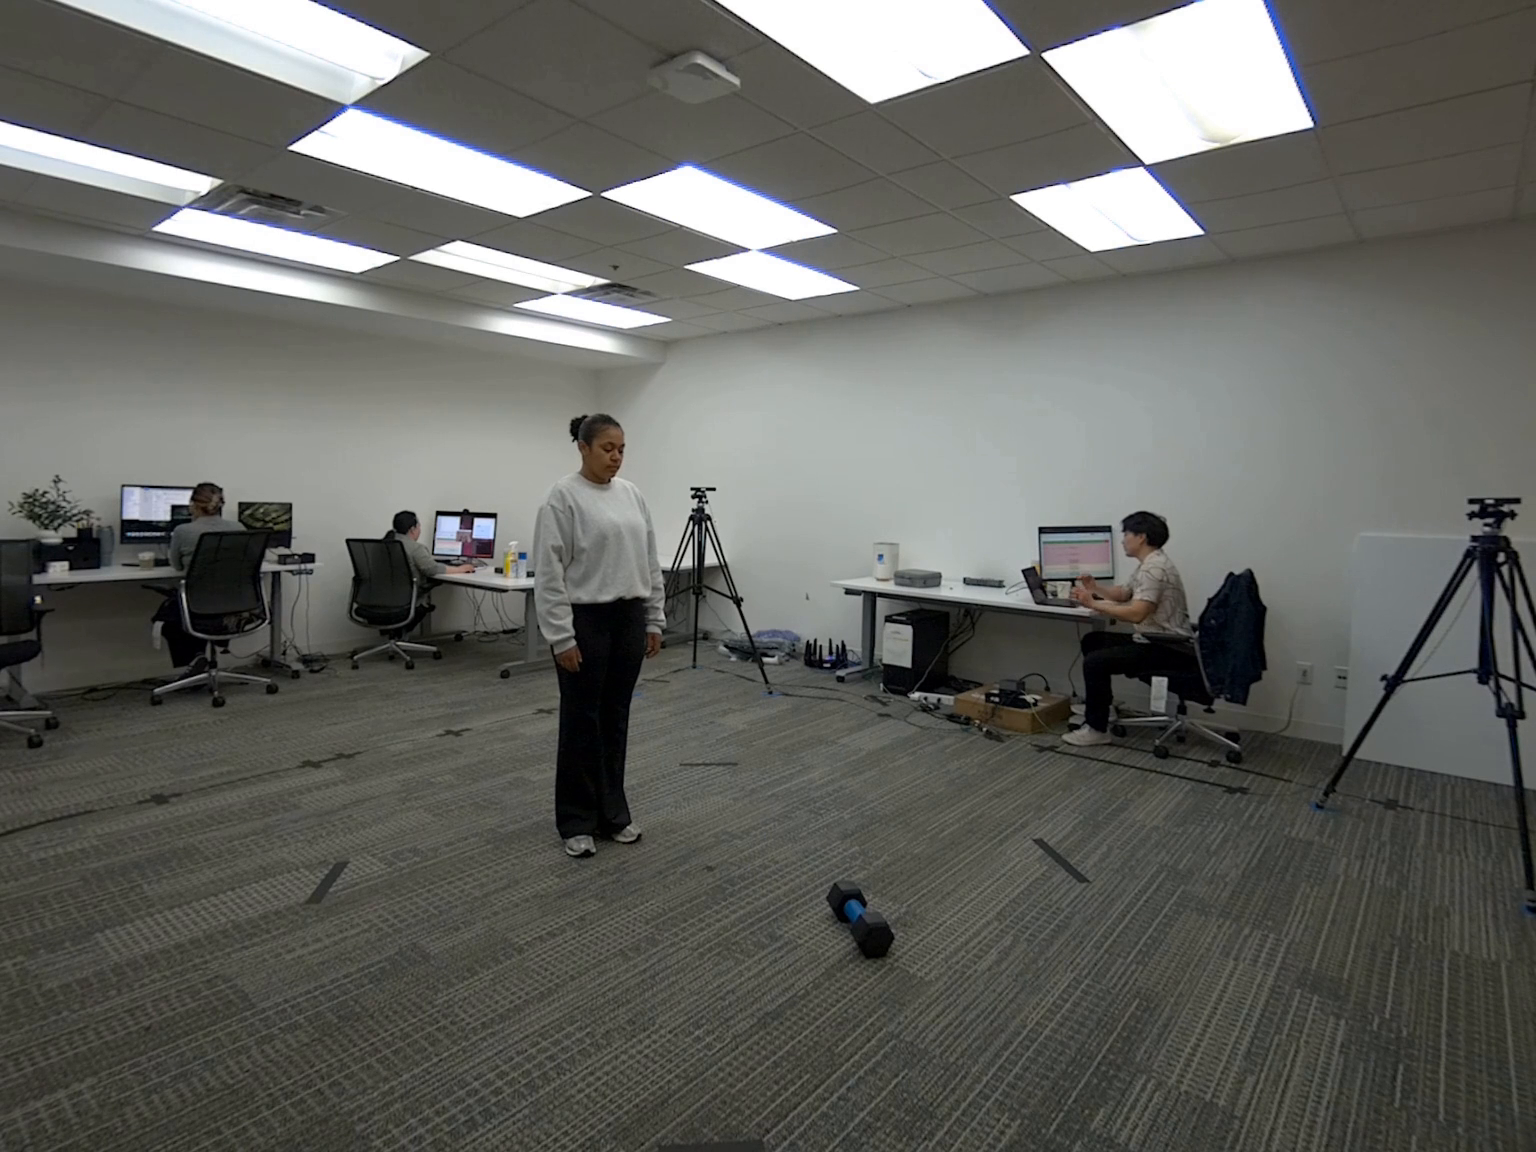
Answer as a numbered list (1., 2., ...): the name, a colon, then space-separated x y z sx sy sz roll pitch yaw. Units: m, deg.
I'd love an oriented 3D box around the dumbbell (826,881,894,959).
1. dumbbell: 0.277 1.068 2.668 0.106 0.123 0.299 30 -3 -16
